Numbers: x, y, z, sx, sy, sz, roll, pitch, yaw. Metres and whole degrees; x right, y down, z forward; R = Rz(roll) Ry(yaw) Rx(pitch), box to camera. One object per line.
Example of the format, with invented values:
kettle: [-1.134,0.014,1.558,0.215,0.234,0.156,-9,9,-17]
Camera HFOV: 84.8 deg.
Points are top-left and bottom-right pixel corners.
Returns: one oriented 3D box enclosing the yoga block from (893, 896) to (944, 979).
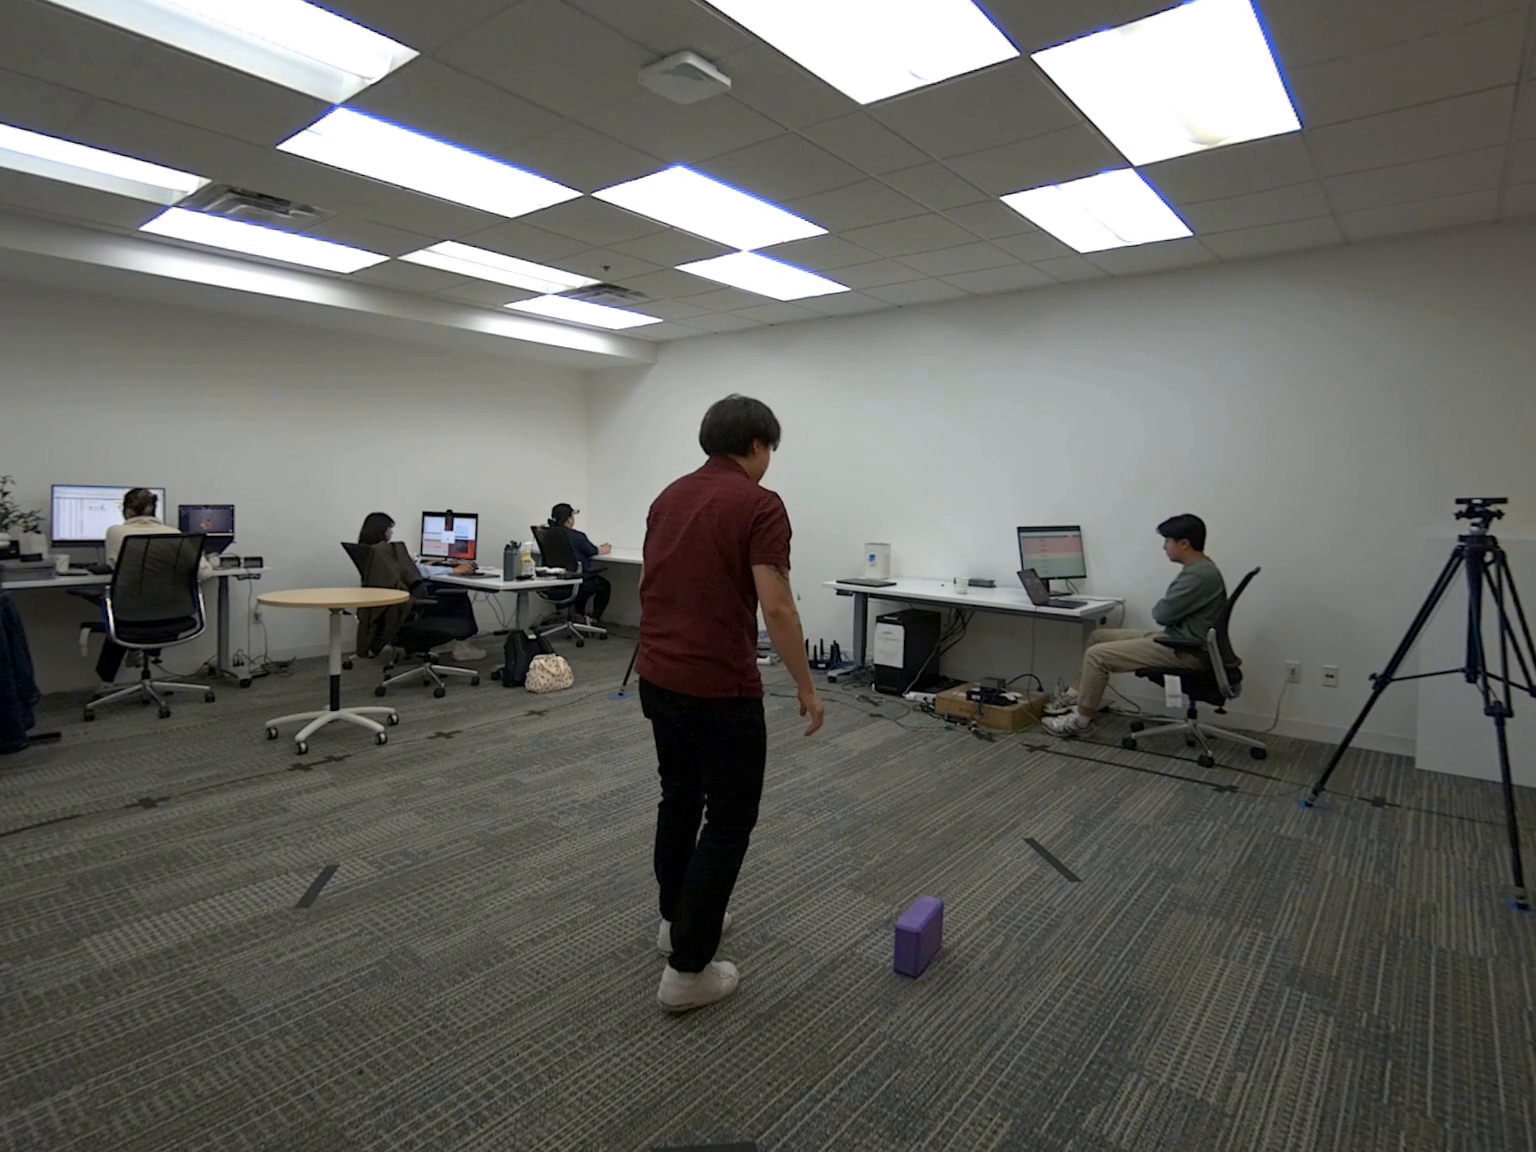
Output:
yoga block: [0.448,1.067,2.539,0.079,0.148,0.223,4,5,29]
